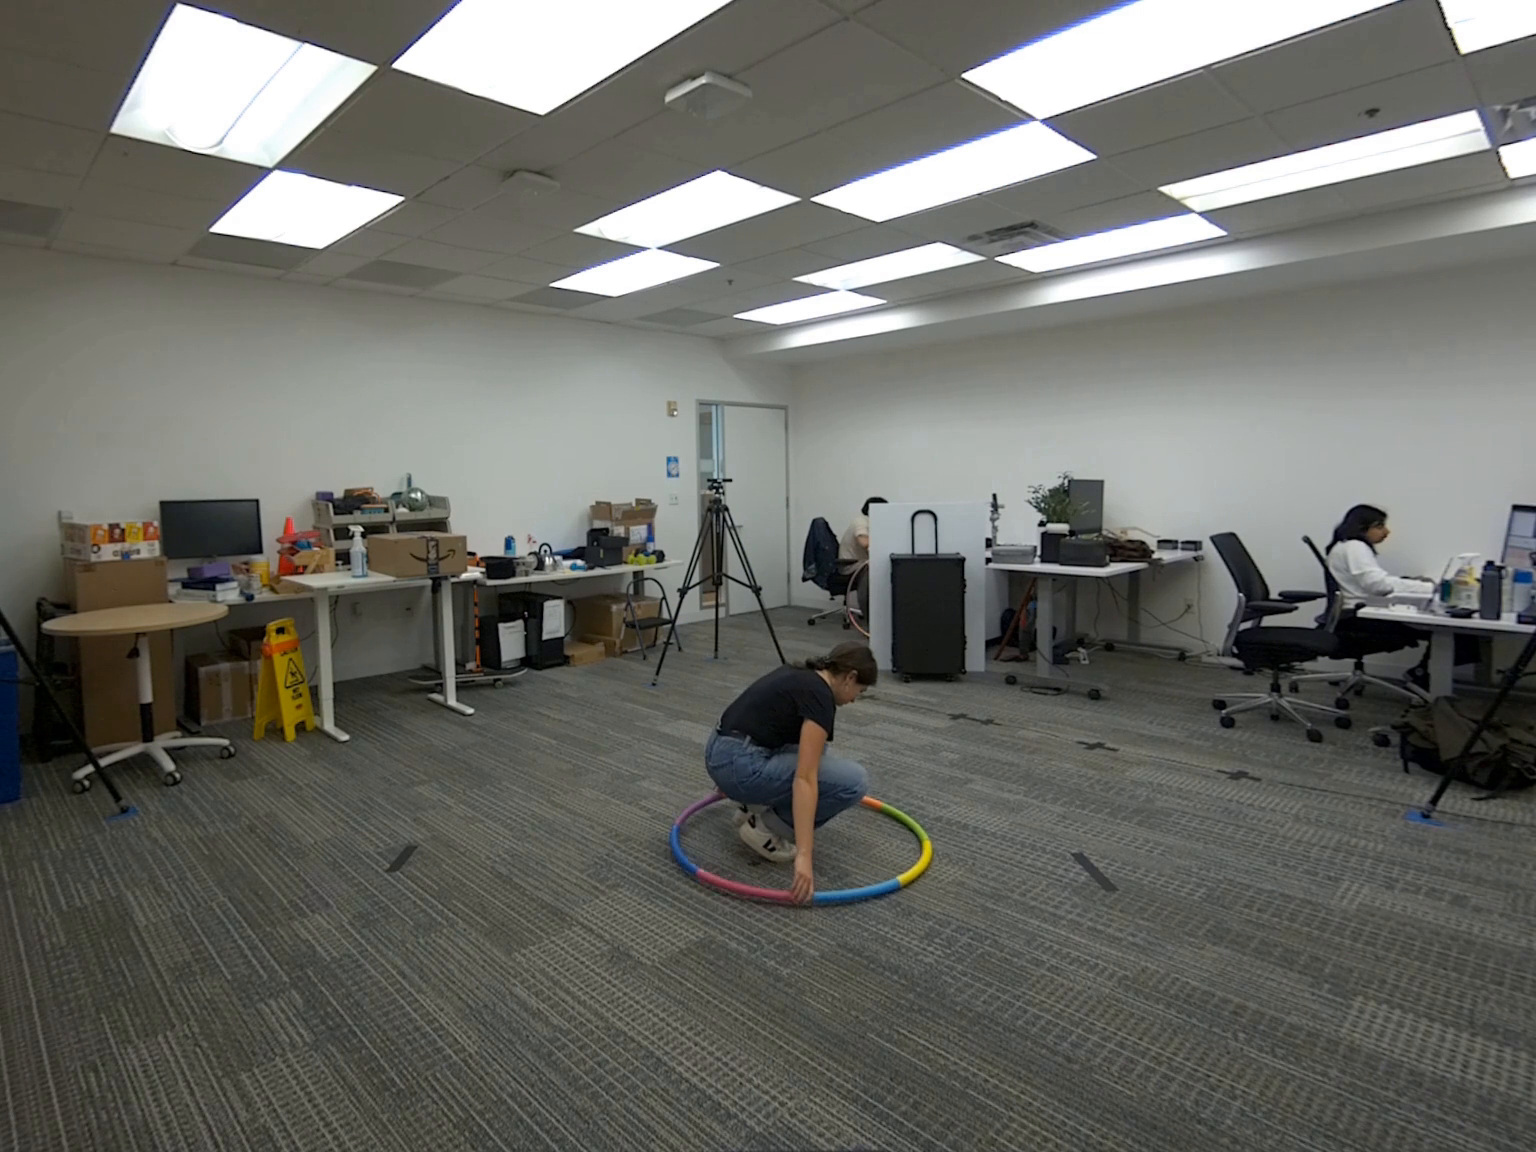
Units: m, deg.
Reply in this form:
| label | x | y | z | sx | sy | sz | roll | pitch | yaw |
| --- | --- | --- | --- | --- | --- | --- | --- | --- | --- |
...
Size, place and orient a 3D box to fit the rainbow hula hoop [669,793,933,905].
| label | x | y | z | sx | sy | sz | roll | pitch | yaw |
| --- | --- | --- | --- | --- | --- | --- | --- | --- | --- |
| rainbow hula hoop | 0.110 | 0.969 | 3.262 | 0.978 | 0.035 | 0.985 | 1 | 7 | -2 |
